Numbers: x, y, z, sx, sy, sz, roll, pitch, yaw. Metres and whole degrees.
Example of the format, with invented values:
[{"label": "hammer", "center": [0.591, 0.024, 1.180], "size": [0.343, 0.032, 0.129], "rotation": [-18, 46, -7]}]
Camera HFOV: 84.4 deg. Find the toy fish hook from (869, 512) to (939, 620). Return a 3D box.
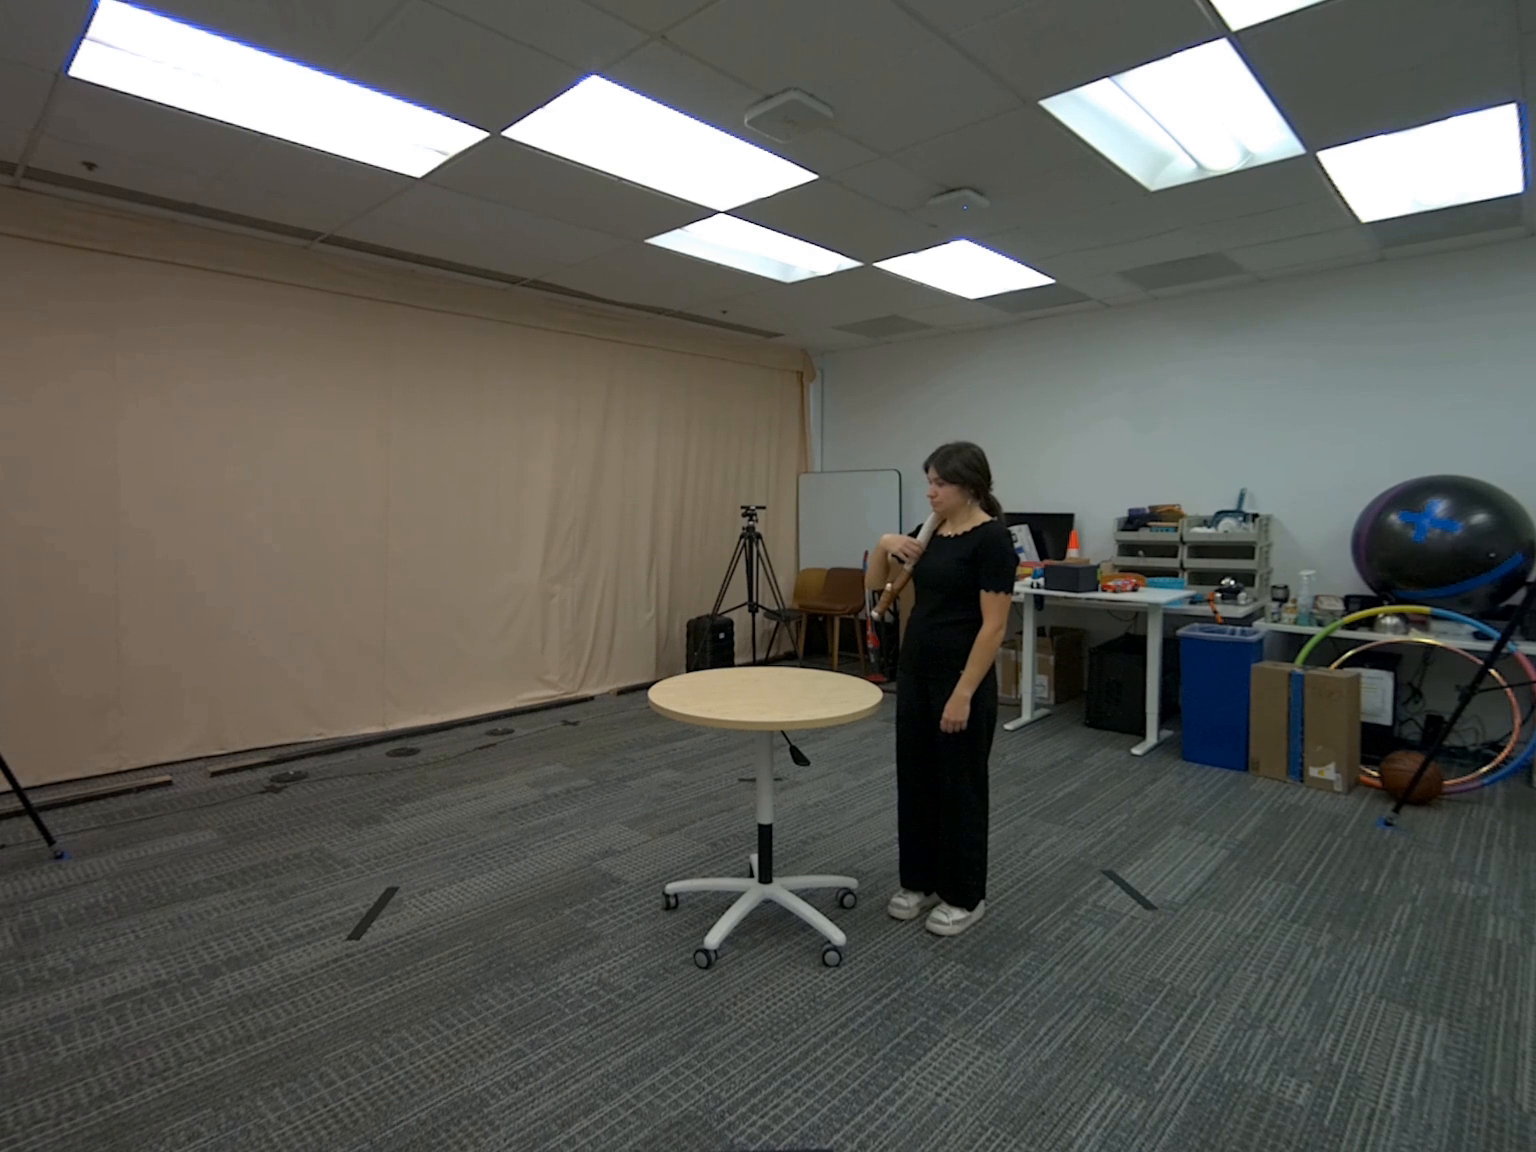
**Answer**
[{"label": "toy fish hook", "center": [0.527, -0.039, 2.892], "size": [0.217, 0.506, 0.050], "rotation": [43, -8, -39]}]
